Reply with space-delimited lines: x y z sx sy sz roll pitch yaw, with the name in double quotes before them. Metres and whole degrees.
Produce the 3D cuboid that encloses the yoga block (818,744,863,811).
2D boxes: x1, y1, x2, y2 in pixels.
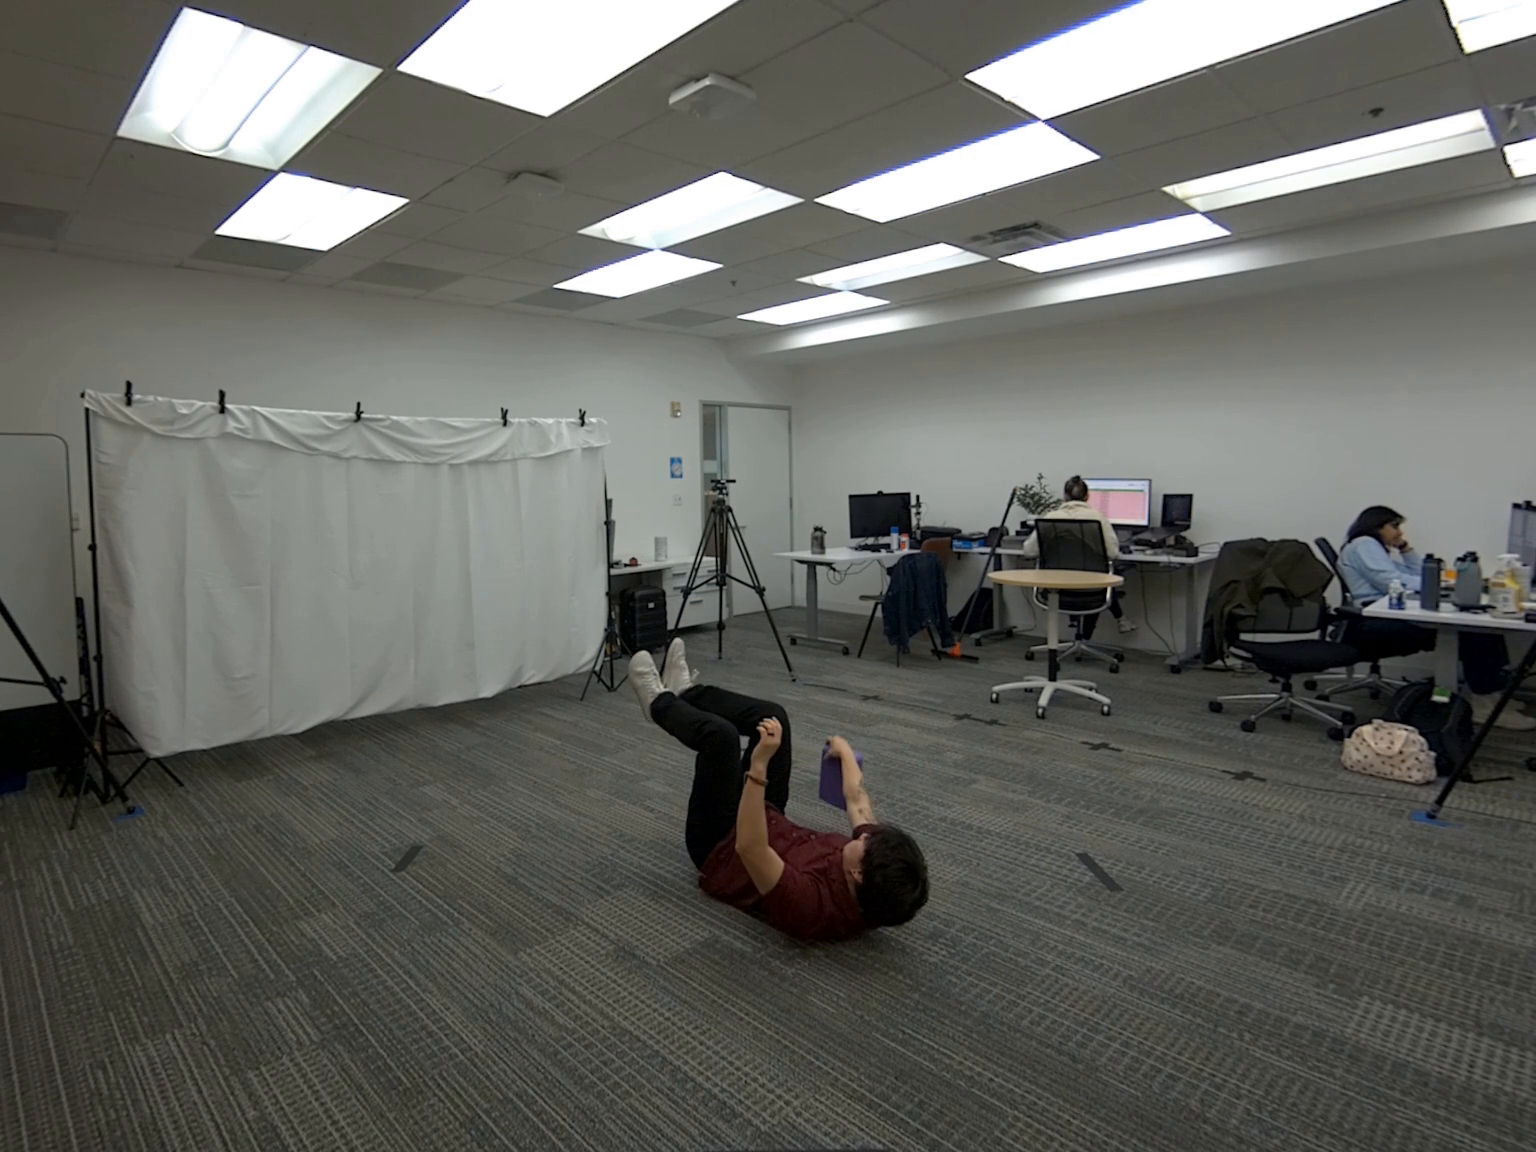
"yoga block" 0.283 0.782 3.324 0.154 0.226 0.075 15 19 38
